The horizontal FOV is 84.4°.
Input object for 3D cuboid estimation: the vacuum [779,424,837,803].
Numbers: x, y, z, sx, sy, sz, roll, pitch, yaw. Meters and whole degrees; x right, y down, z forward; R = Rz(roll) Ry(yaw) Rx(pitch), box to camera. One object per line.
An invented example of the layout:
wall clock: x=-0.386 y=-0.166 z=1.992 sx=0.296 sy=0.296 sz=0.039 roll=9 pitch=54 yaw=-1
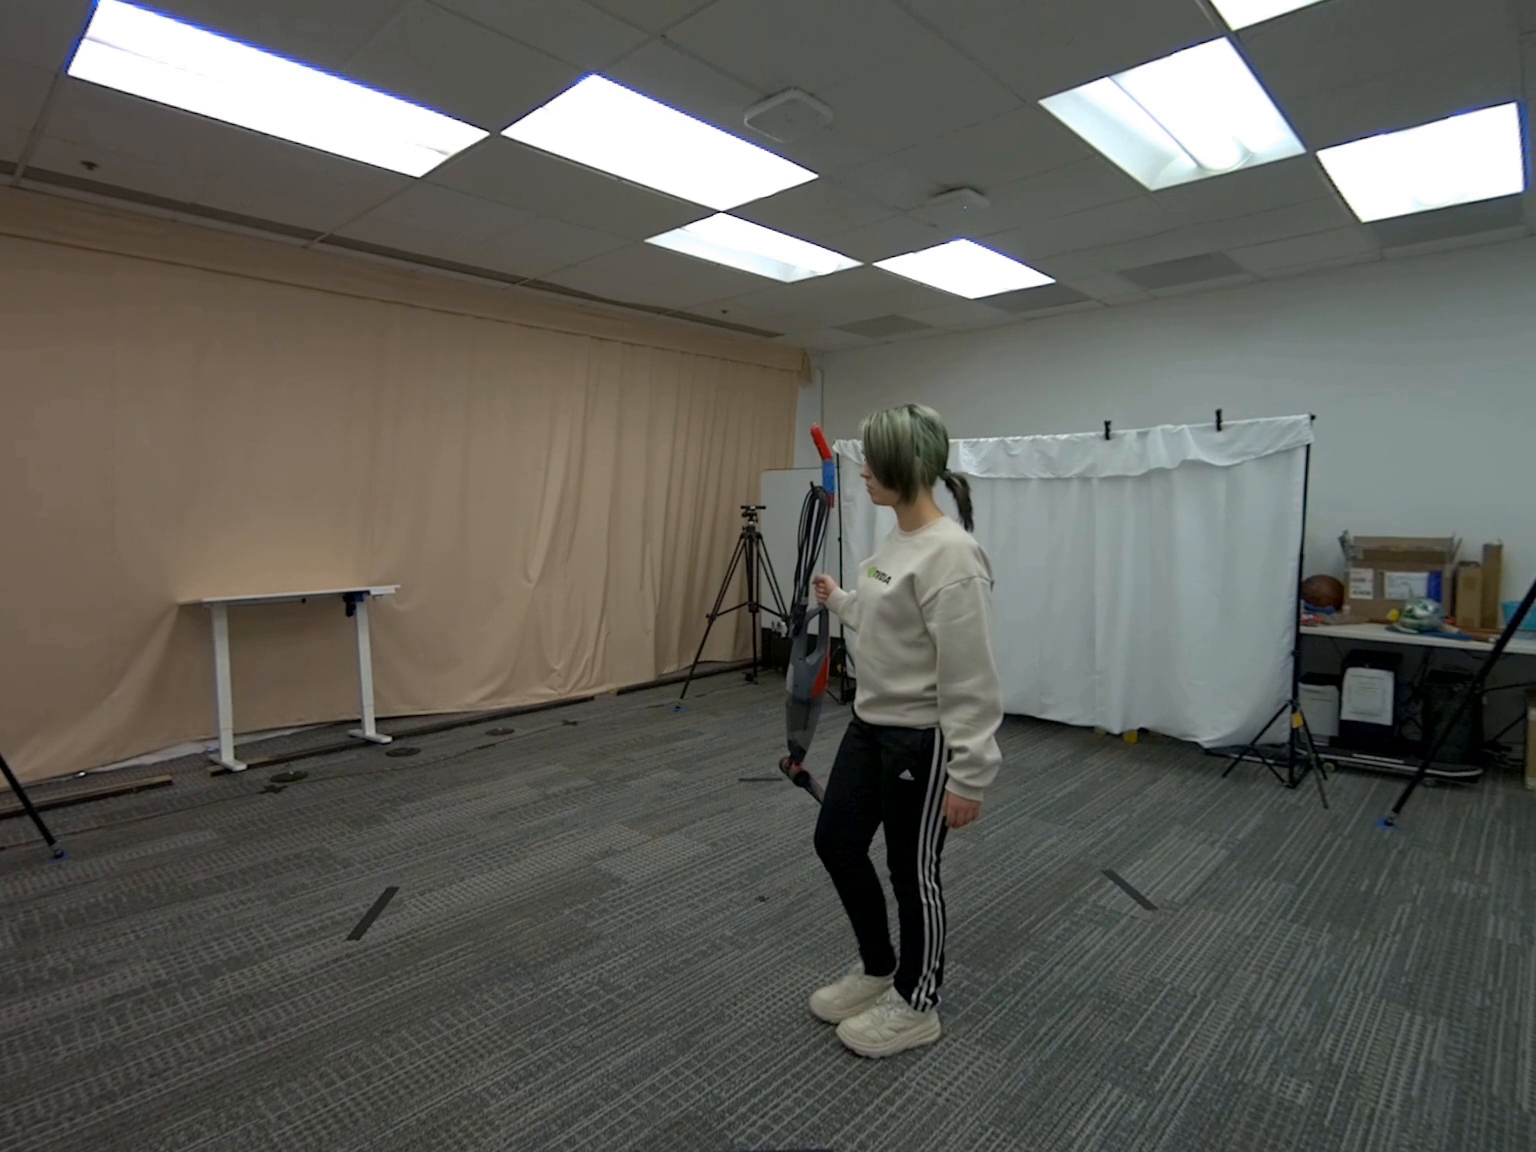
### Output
vacuum: x=0.123 y=0.103 z=2.477 sx=0.140 sy=1.046 sz=0.260 roll=-1 pitch=6 yaw=-29
